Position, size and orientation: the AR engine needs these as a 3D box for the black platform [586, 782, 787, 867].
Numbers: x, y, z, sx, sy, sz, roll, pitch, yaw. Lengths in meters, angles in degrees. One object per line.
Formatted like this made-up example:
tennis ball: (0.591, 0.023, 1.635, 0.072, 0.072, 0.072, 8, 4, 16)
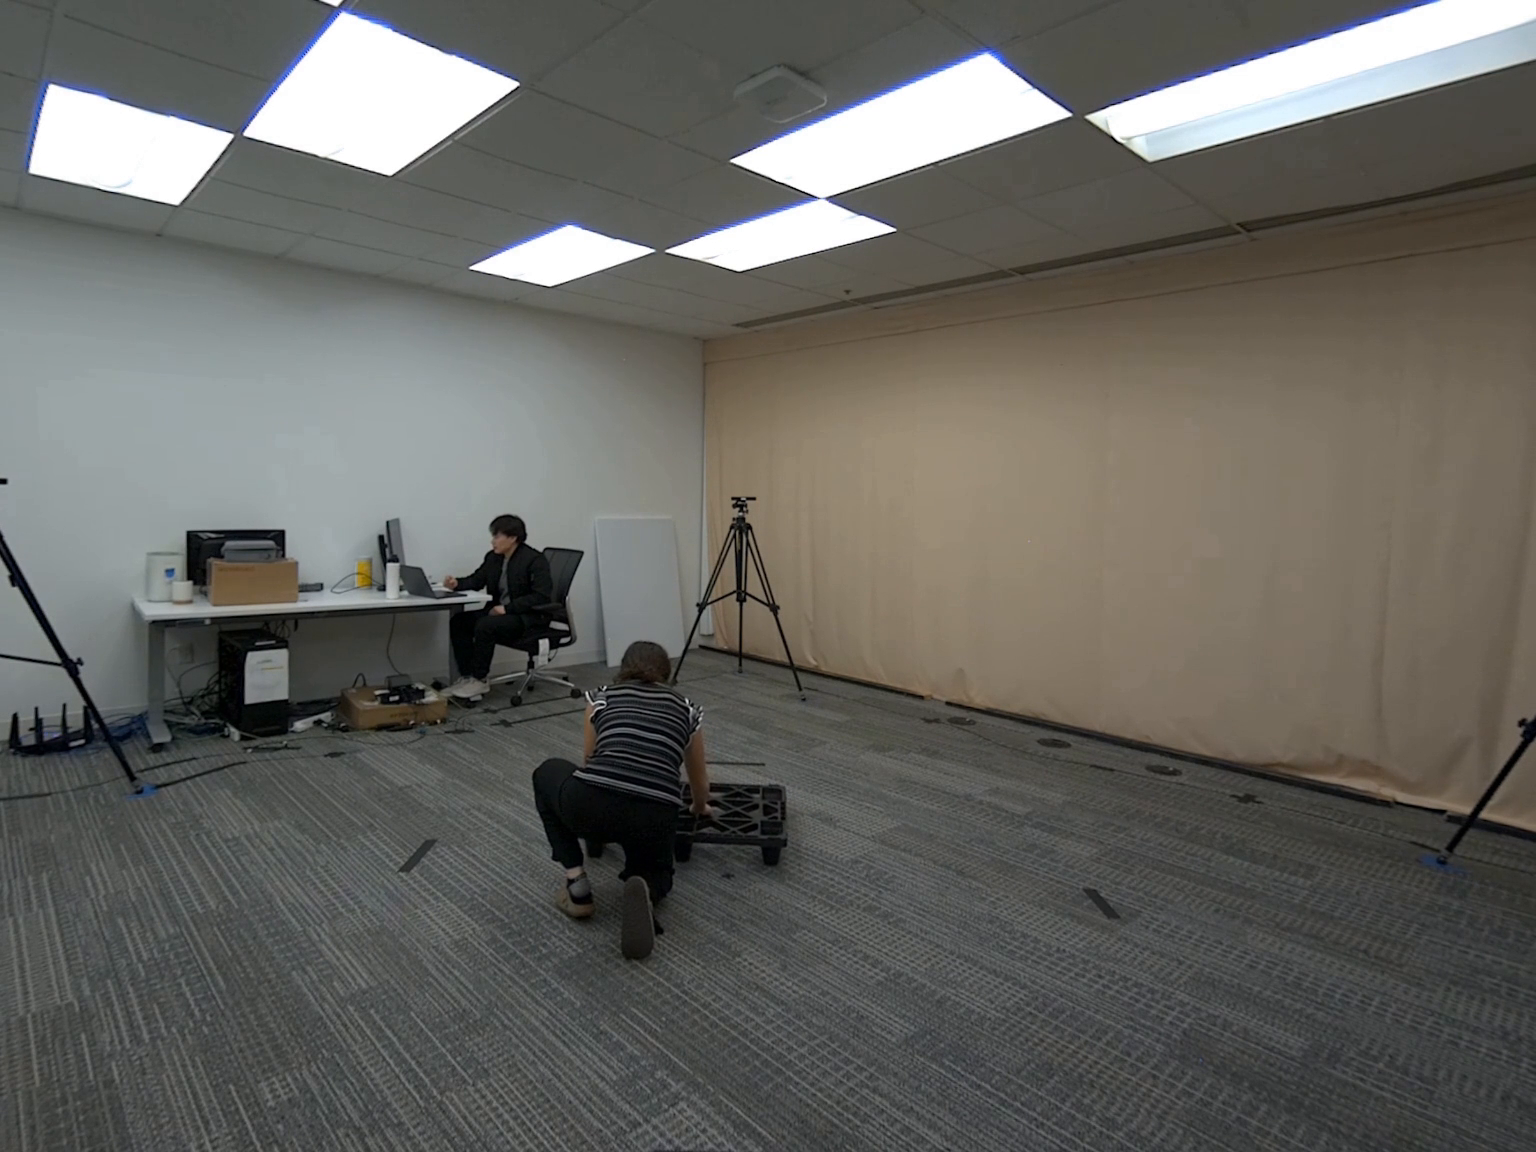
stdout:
black platform: (-0.328, 1.009, 3.444, 0.807, 0.143, 0.606, 1, 5, 2)
